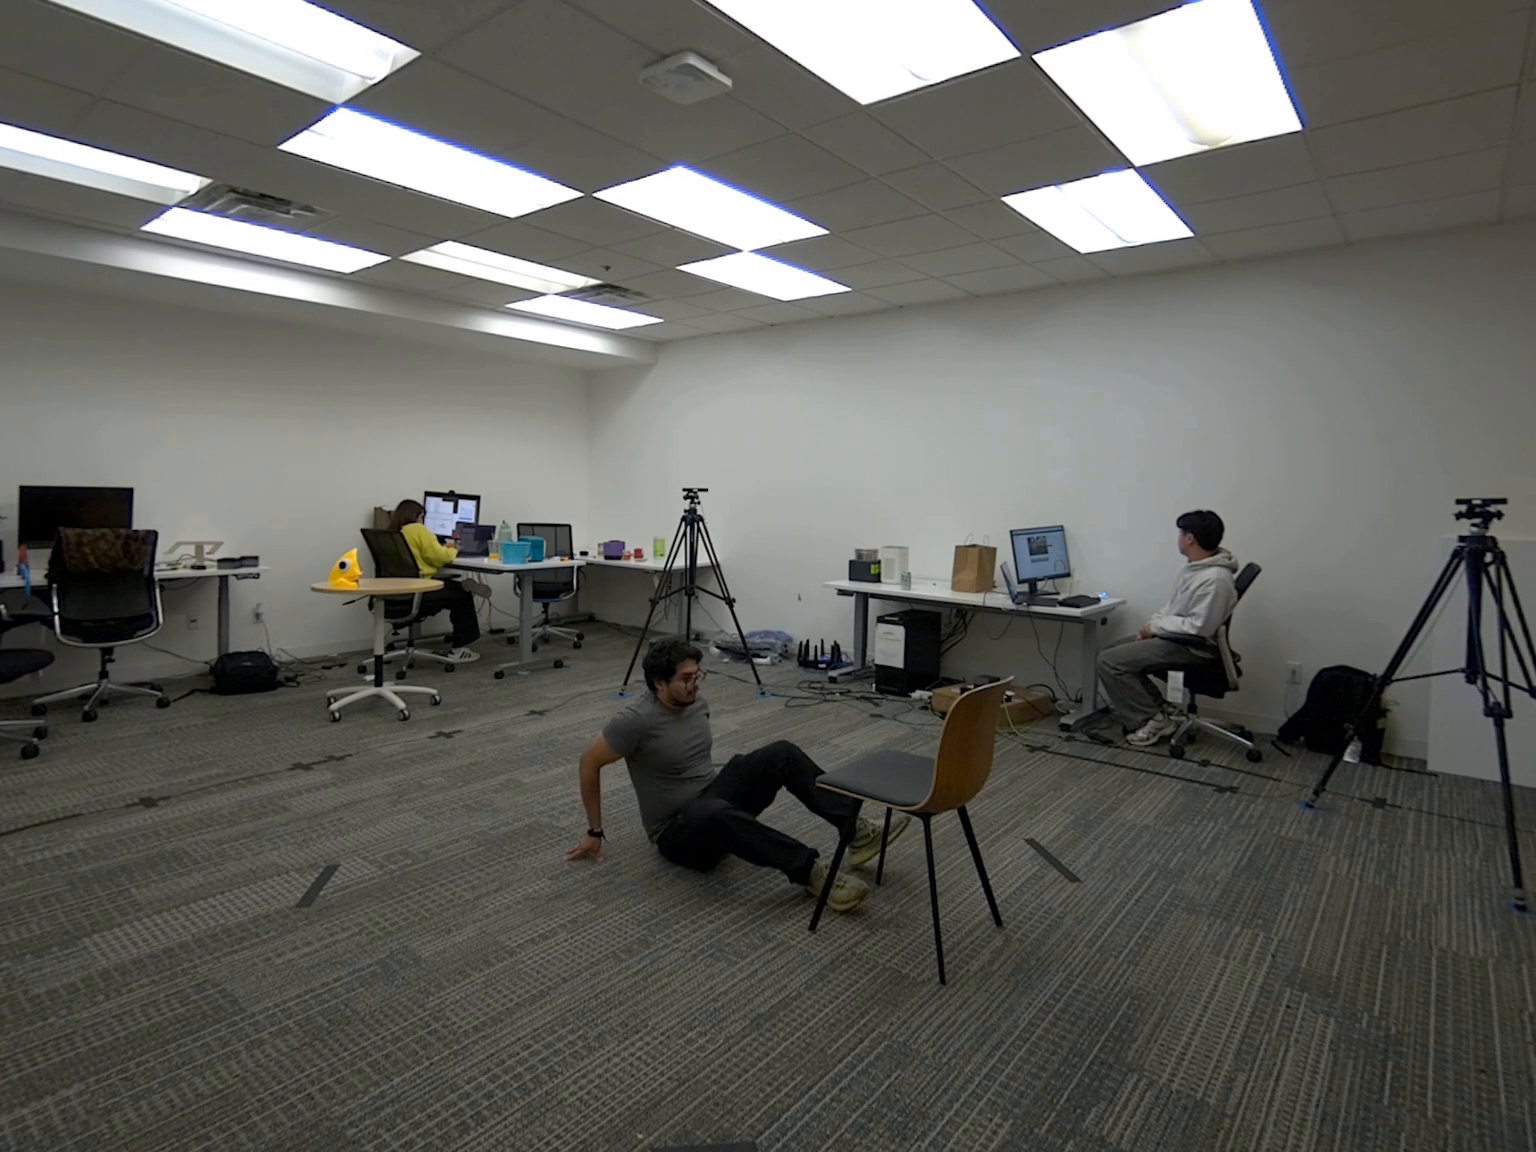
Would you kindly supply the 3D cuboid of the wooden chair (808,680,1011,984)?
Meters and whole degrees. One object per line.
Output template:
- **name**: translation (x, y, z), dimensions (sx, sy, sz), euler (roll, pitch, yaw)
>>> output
- **wooden chair**: translation (0.445, 0.697, 2.697), dimensions (0.542, 0.873, 0.464), euler (9, 7, 37)
